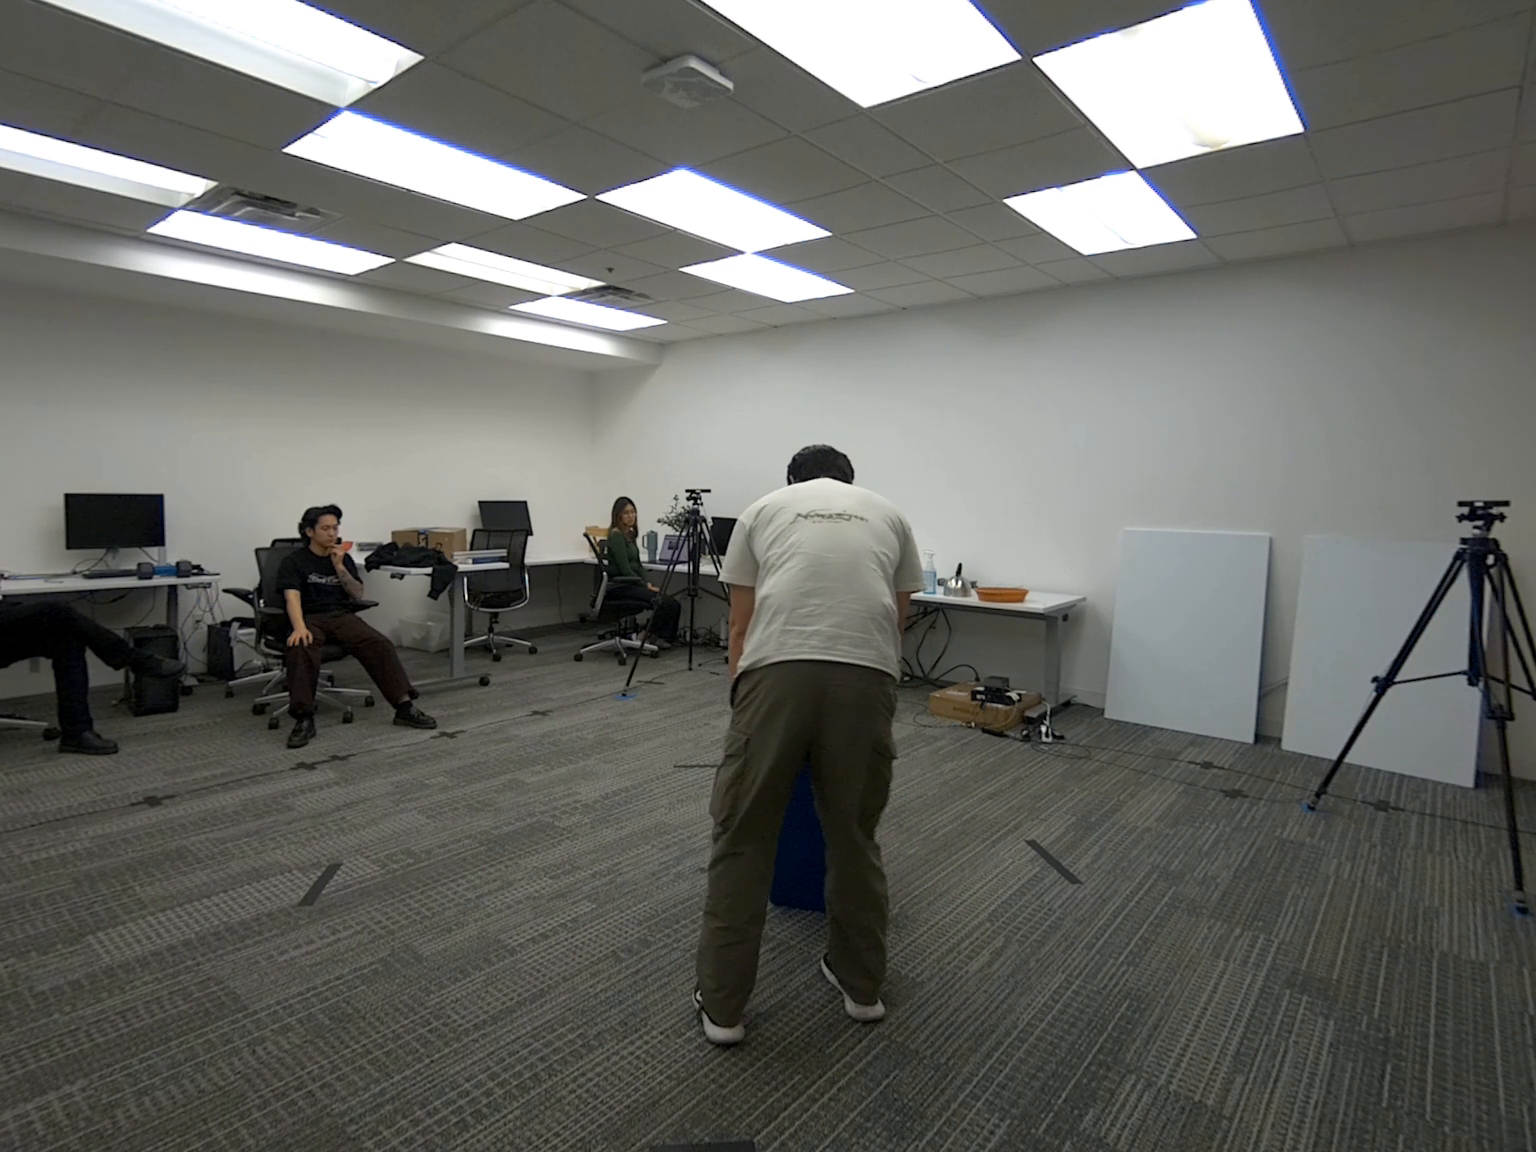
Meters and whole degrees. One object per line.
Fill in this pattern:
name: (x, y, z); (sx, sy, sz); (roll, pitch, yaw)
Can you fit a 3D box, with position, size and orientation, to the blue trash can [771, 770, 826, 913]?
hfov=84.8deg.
blue trash can: (0.148, 0.721, 2.800); (0.384, 0.695, 0.378); (2, 29, 13)
